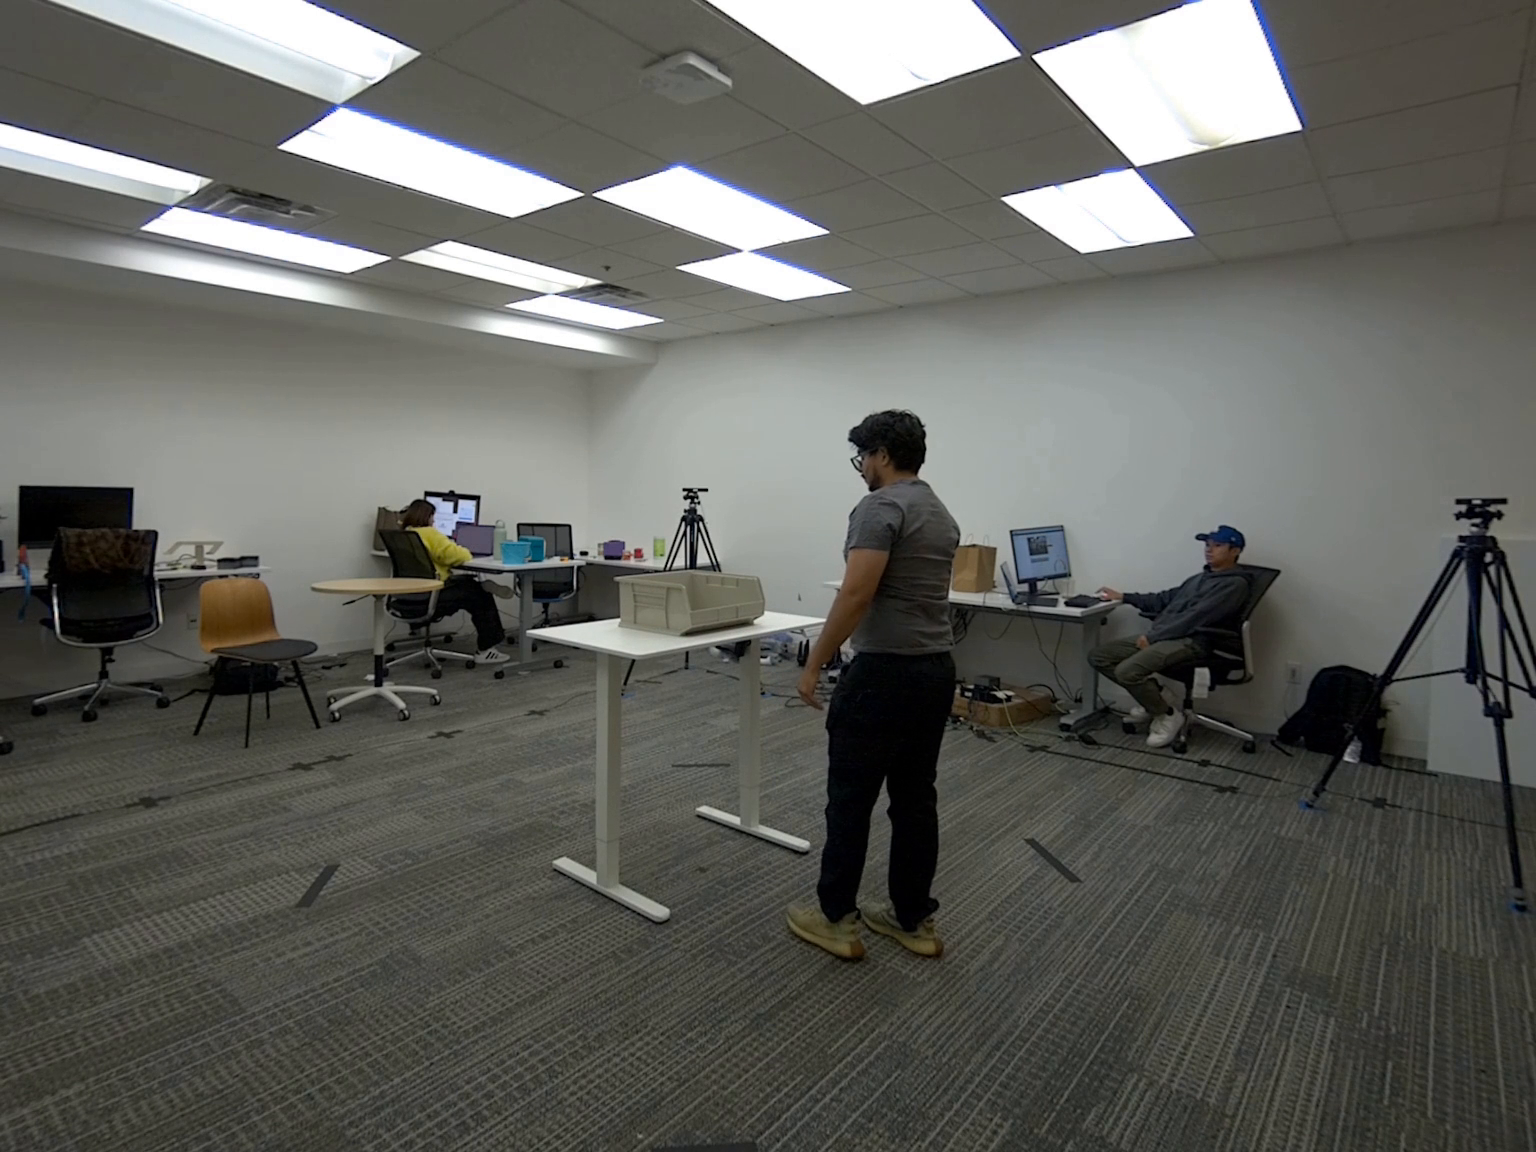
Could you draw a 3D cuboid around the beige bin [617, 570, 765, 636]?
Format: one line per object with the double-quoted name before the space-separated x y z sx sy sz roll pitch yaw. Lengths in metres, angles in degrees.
"beige bin" -0.292 0.093 3.142 0.390 0.188 0.410 3 6 40
